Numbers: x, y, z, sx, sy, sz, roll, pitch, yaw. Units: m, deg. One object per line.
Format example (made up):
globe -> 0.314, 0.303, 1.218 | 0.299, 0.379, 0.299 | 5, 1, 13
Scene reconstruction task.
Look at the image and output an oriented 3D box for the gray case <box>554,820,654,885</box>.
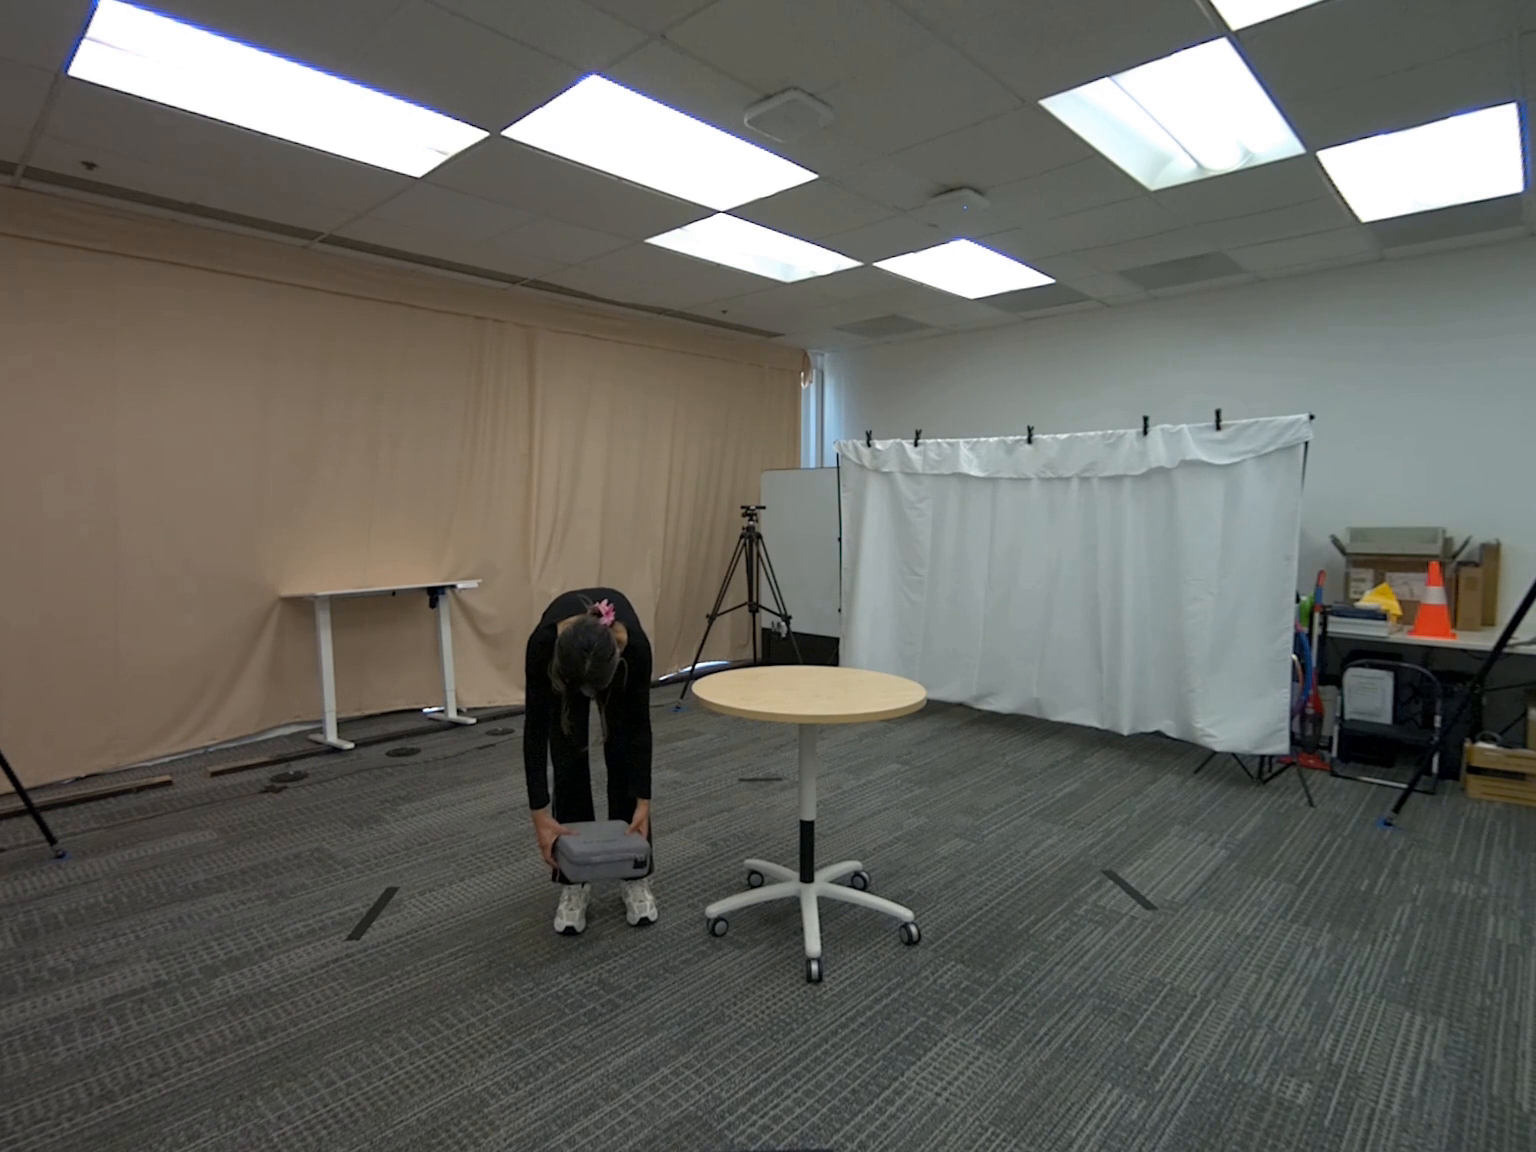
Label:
gray case -> -0.519, 0.828, 2.563 | 0.250, 0.104, 0.268 | 2, 2, -28
